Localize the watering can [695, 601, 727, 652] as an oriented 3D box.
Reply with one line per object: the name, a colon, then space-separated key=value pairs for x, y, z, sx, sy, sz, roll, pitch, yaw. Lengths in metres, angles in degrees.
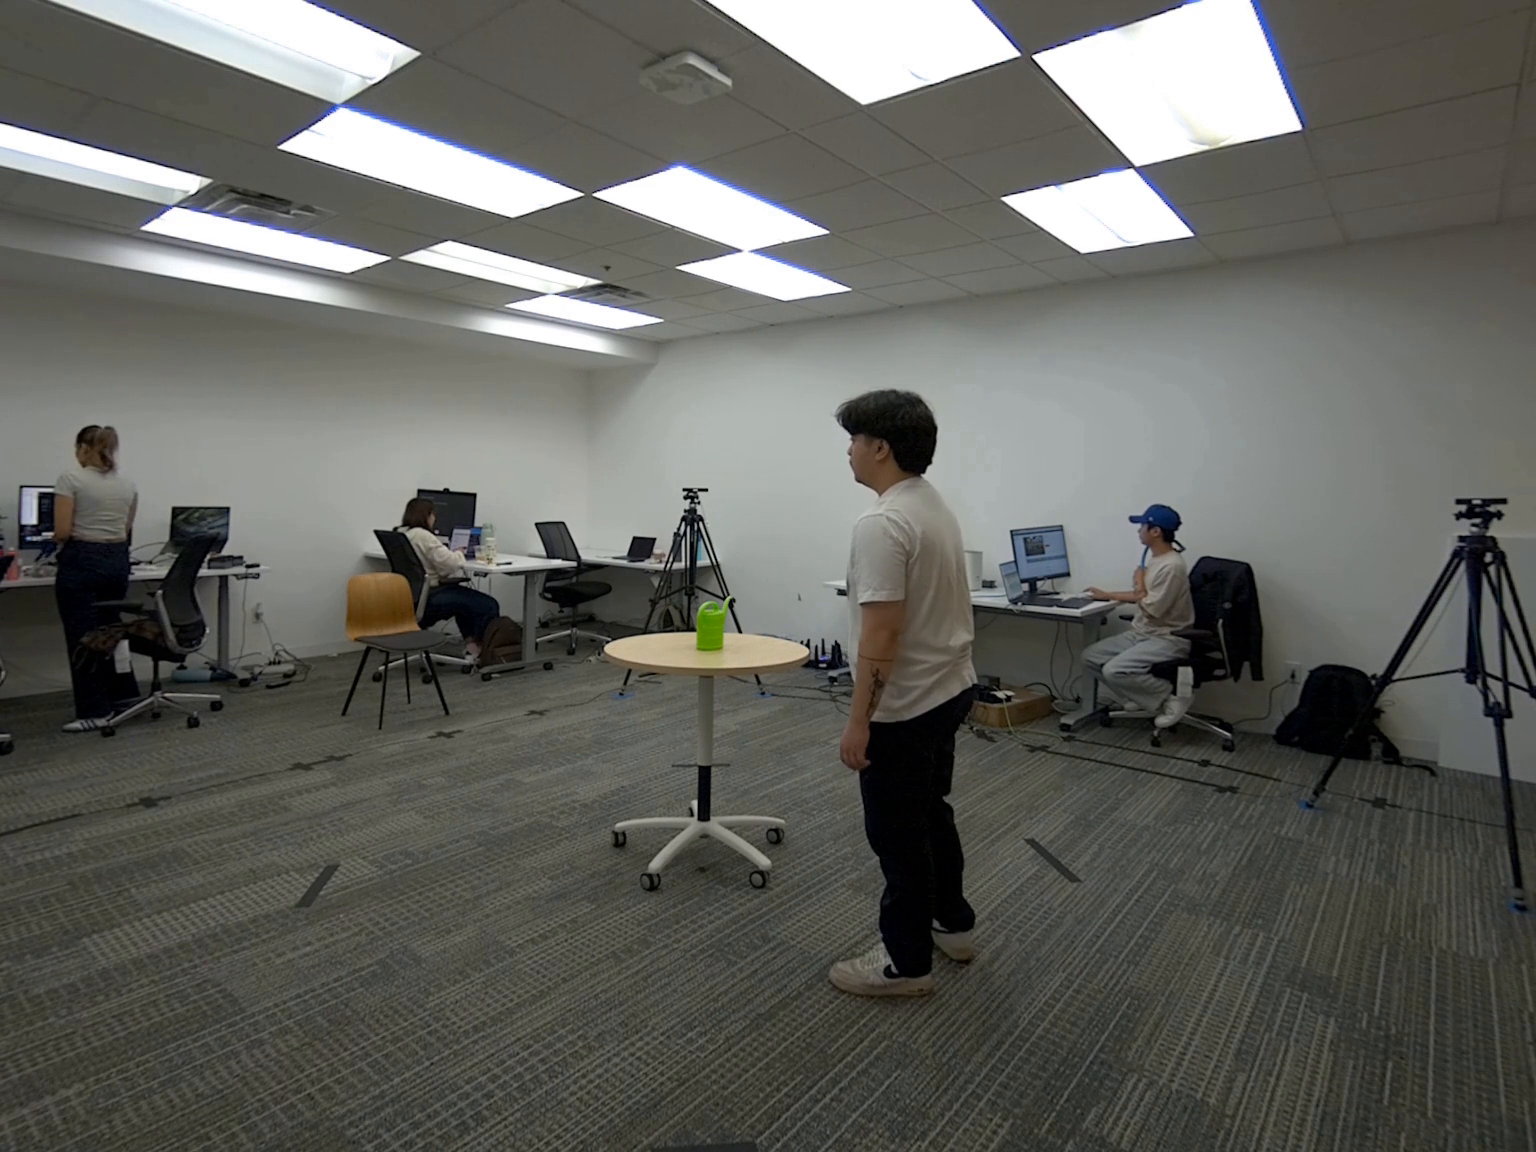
watering can: x=-0.205 y=0.177 z=3.230 sx=0.101 sy=0.176 sz=0.270 roll=3 pitch=5 yaw=38
